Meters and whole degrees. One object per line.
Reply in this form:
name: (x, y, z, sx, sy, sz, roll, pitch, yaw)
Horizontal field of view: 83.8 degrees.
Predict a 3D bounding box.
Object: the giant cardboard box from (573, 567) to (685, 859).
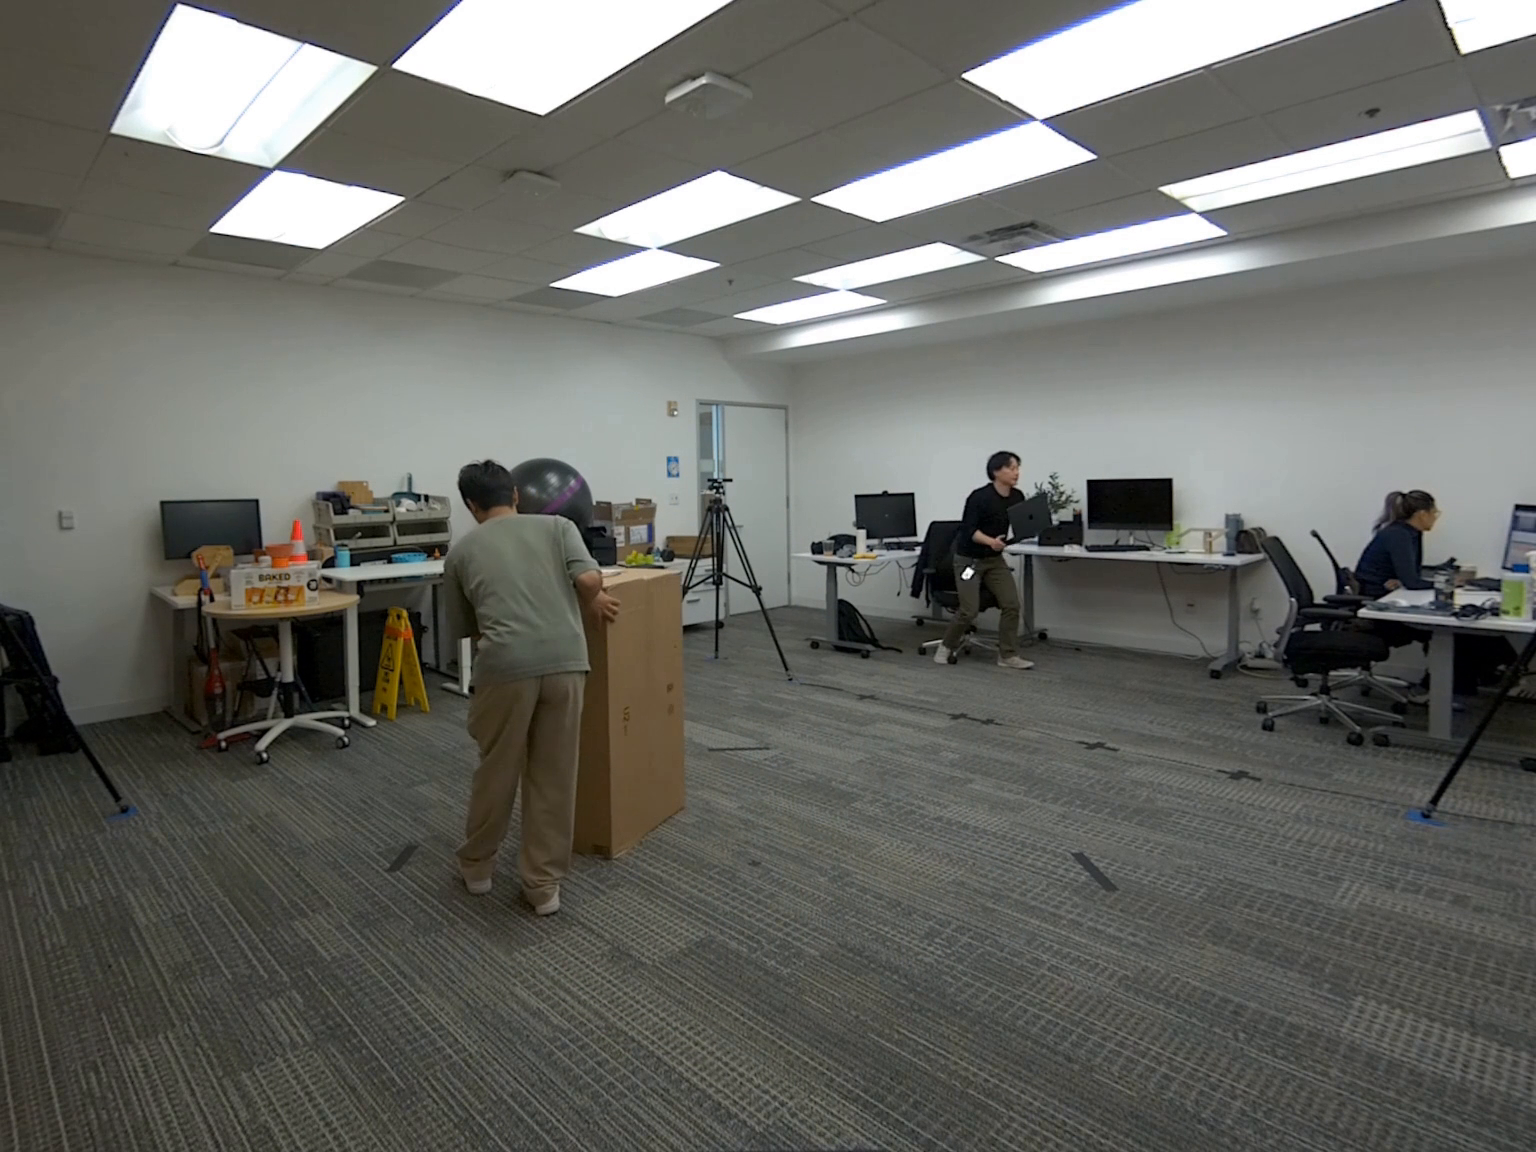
giant cardboard box: (-0.660, 0.507, 3.470, 0.436, 1.022, 0.566, 1, 5, 24)
